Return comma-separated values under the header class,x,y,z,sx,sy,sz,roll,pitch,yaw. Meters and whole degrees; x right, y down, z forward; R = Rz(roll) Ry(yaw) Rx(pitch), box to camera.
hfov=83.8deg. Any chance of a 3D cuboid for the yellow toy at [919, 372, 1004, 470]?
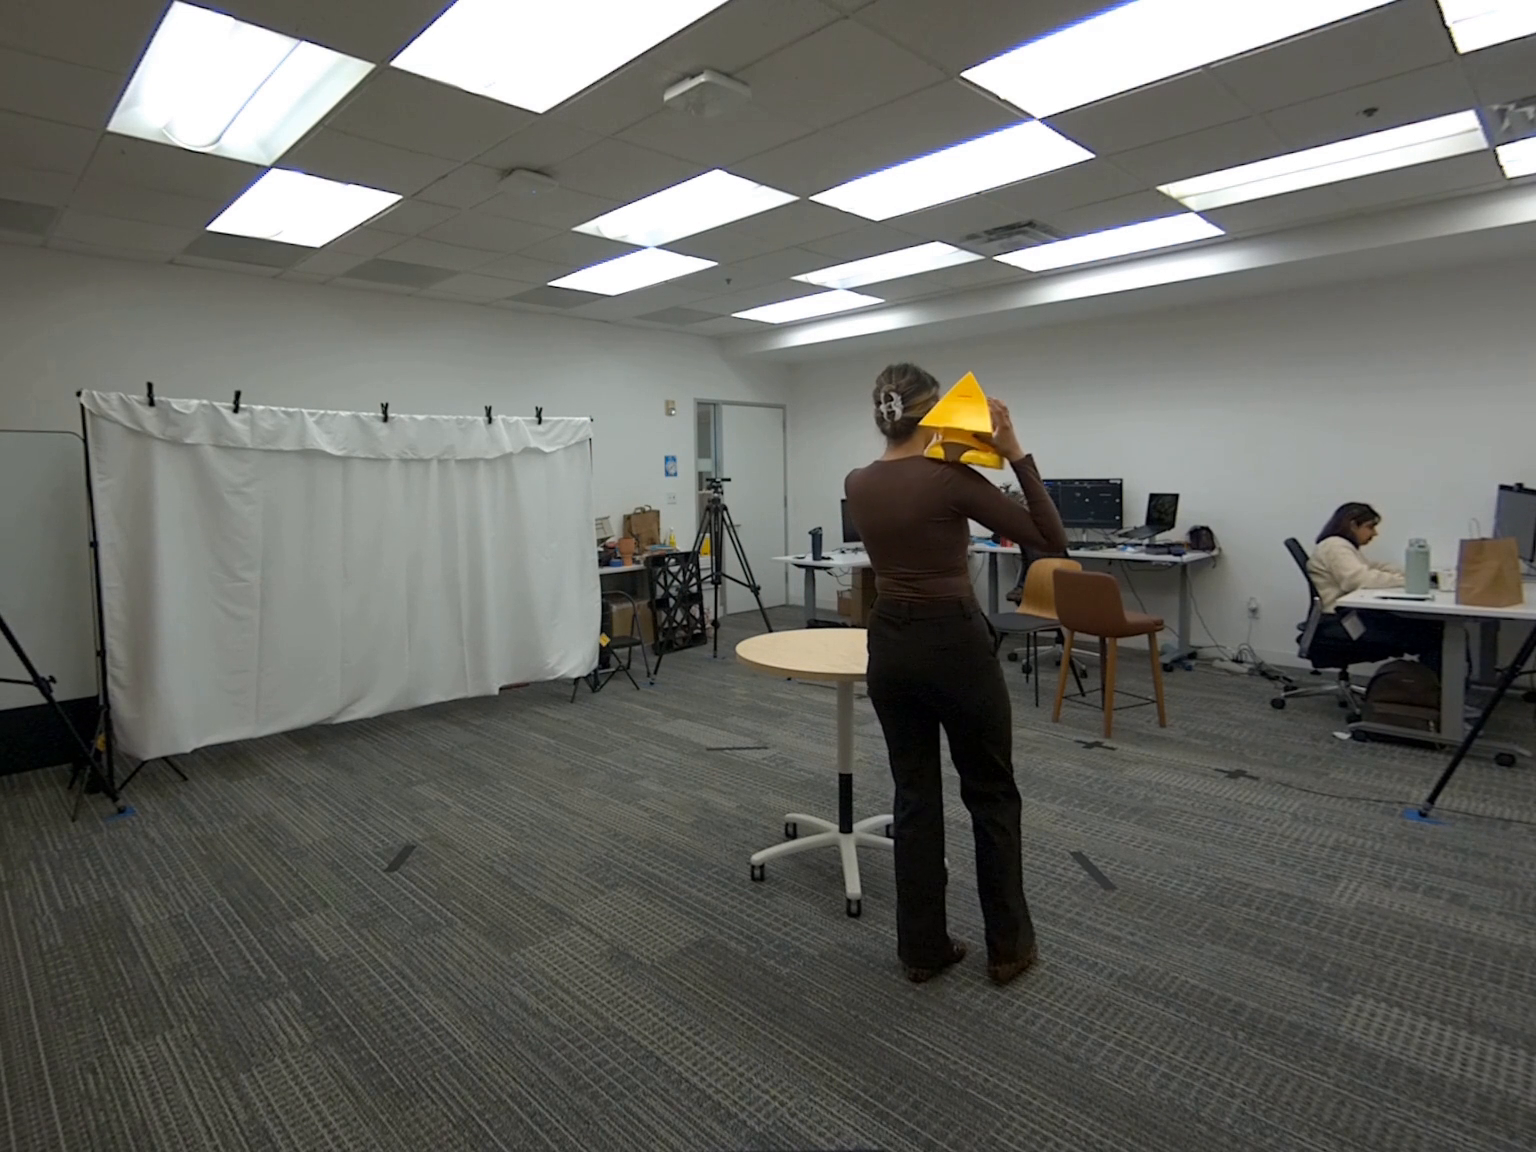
class,x,y,z,sx,sy,sz,roll,pitch,yaw
yellow toy,0.539,-0.412,2.249,0.212,0.230,0.187,14,6,37
